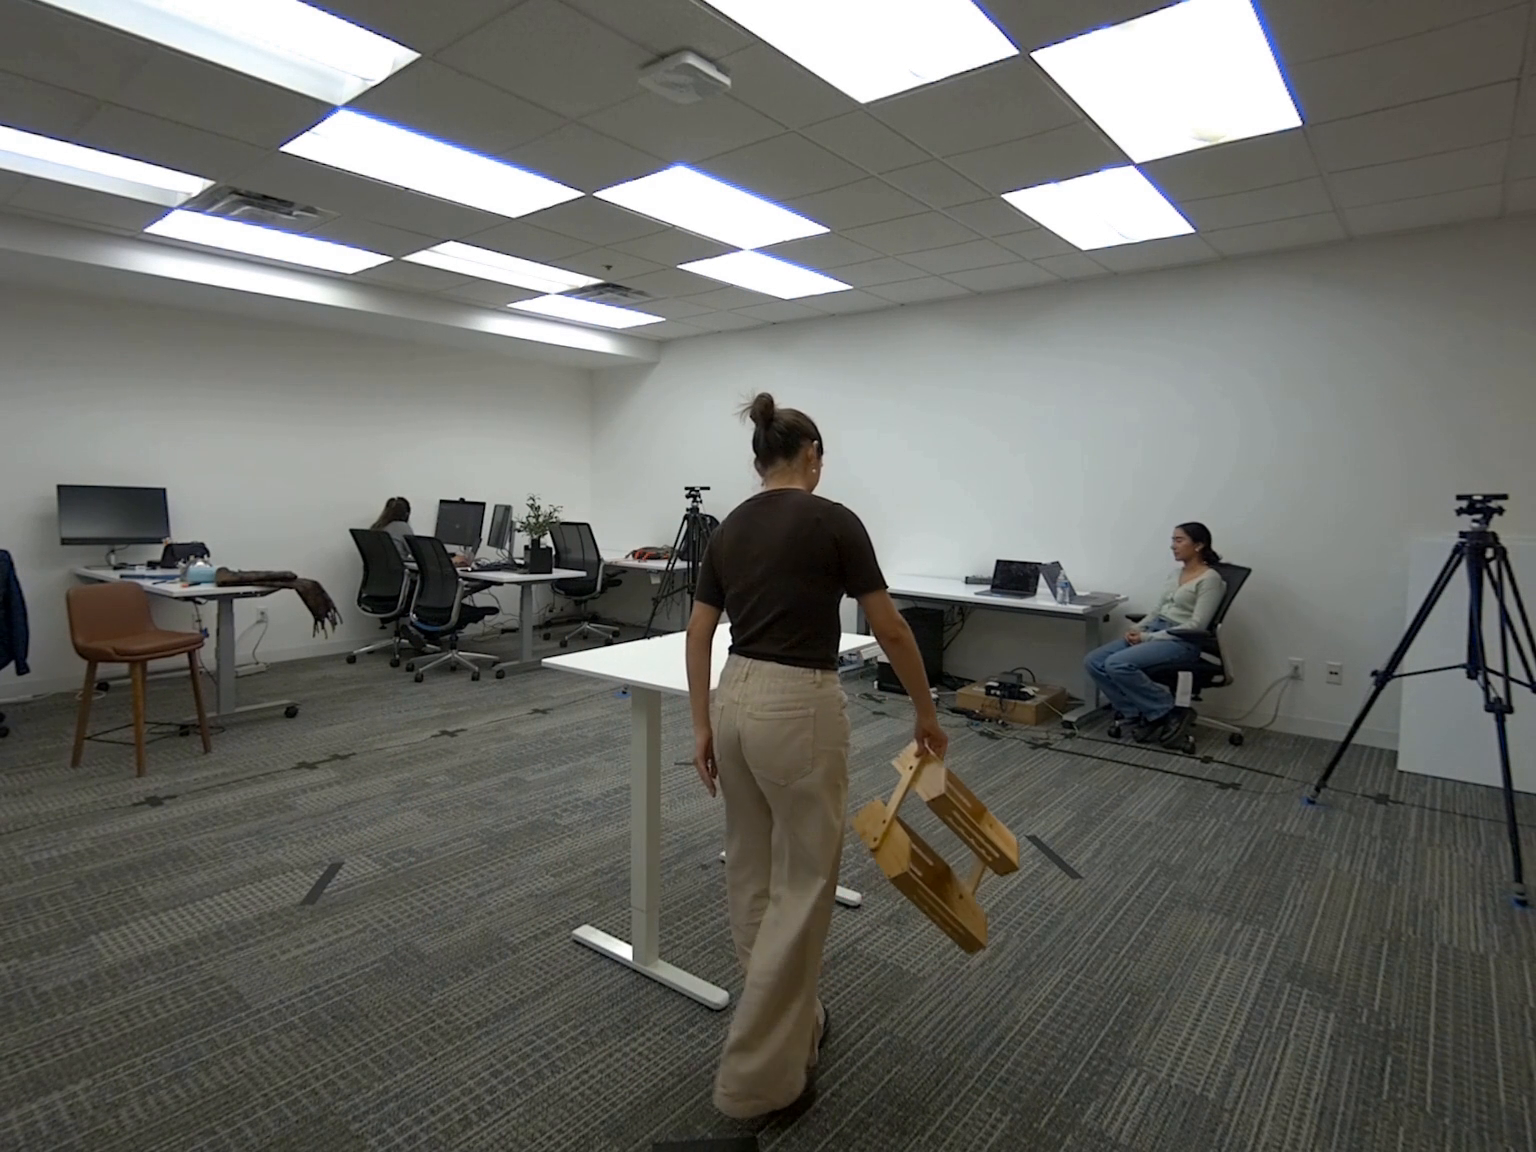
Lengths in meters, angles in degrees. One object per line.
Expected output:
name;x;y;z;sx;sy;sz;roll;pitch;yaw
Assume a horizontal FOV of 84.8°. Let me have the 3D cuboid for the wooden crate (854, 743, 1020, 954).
wooden crate;0.395;0.609;1.994;0.319;0.273;0.307;45;0;-14
